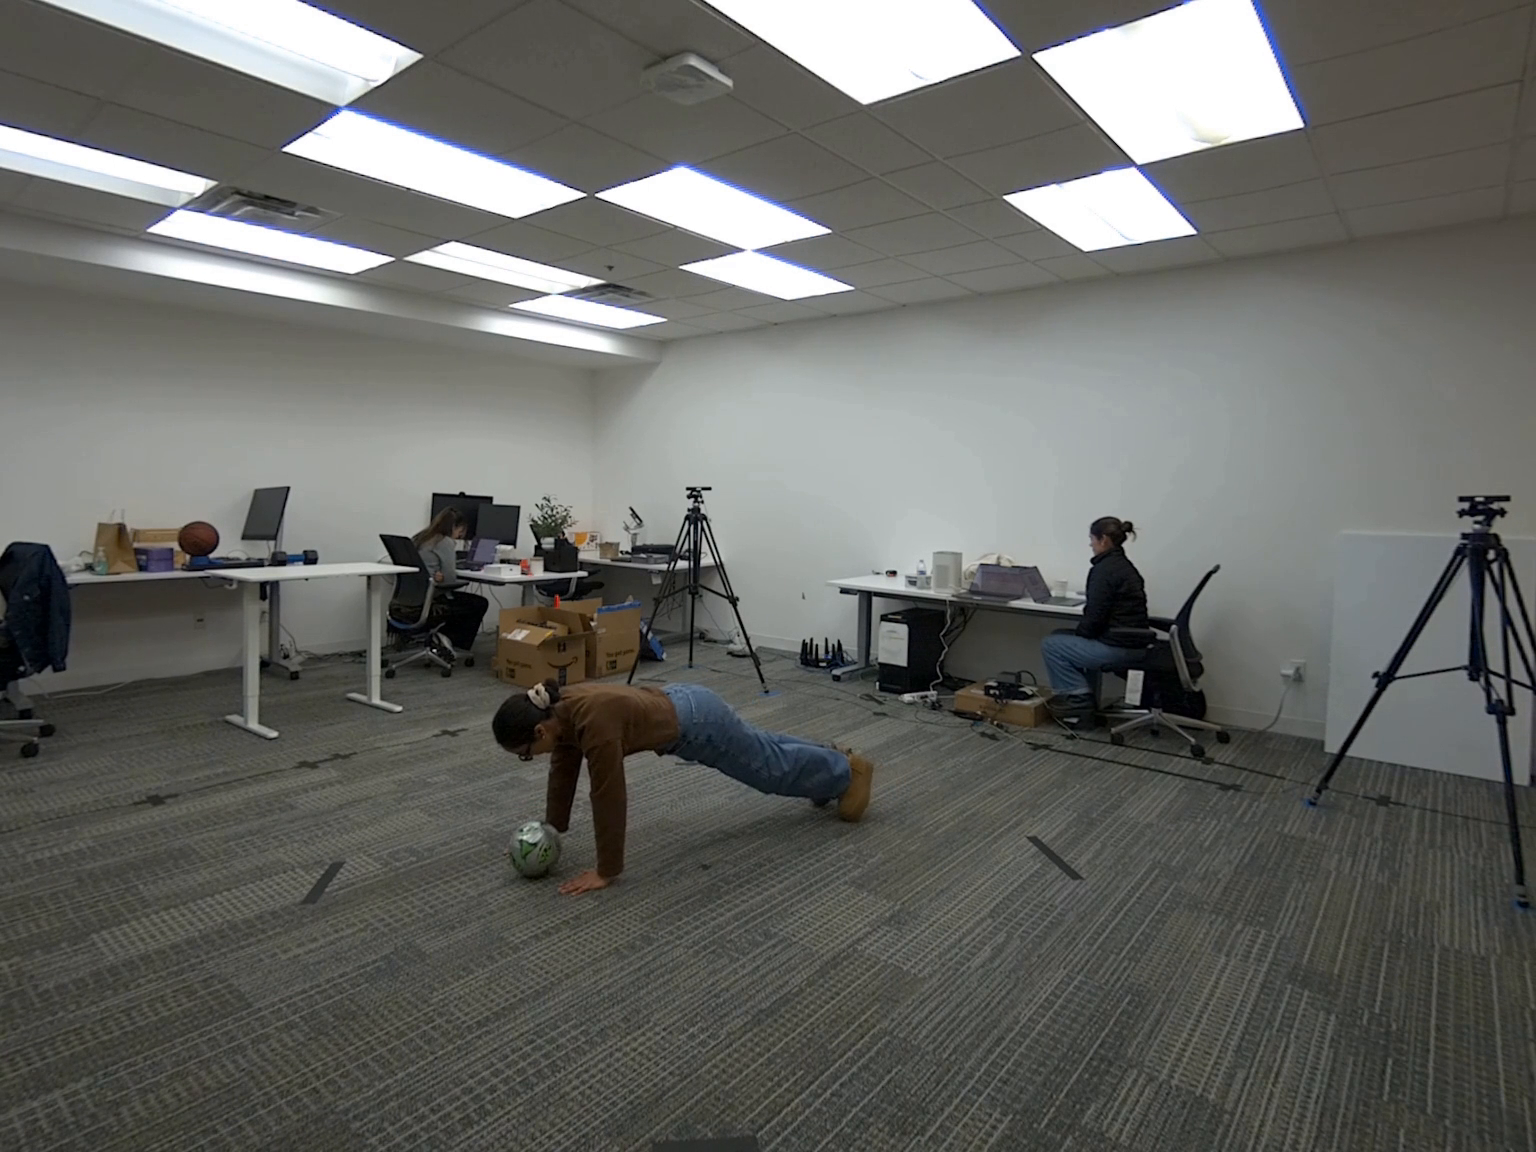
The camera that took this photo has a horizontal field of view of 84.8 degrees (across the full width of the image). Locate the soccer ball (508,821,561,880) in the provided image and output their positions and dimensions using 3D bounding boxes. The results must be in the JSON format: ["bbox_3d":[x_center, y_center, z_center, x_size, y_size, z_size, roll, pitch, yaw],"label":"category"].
[{"bbox_3d":[-0.850,0.974,3.033,0.187,0.187,0.188,1,4,-2],"label":"soccer ball"}]
